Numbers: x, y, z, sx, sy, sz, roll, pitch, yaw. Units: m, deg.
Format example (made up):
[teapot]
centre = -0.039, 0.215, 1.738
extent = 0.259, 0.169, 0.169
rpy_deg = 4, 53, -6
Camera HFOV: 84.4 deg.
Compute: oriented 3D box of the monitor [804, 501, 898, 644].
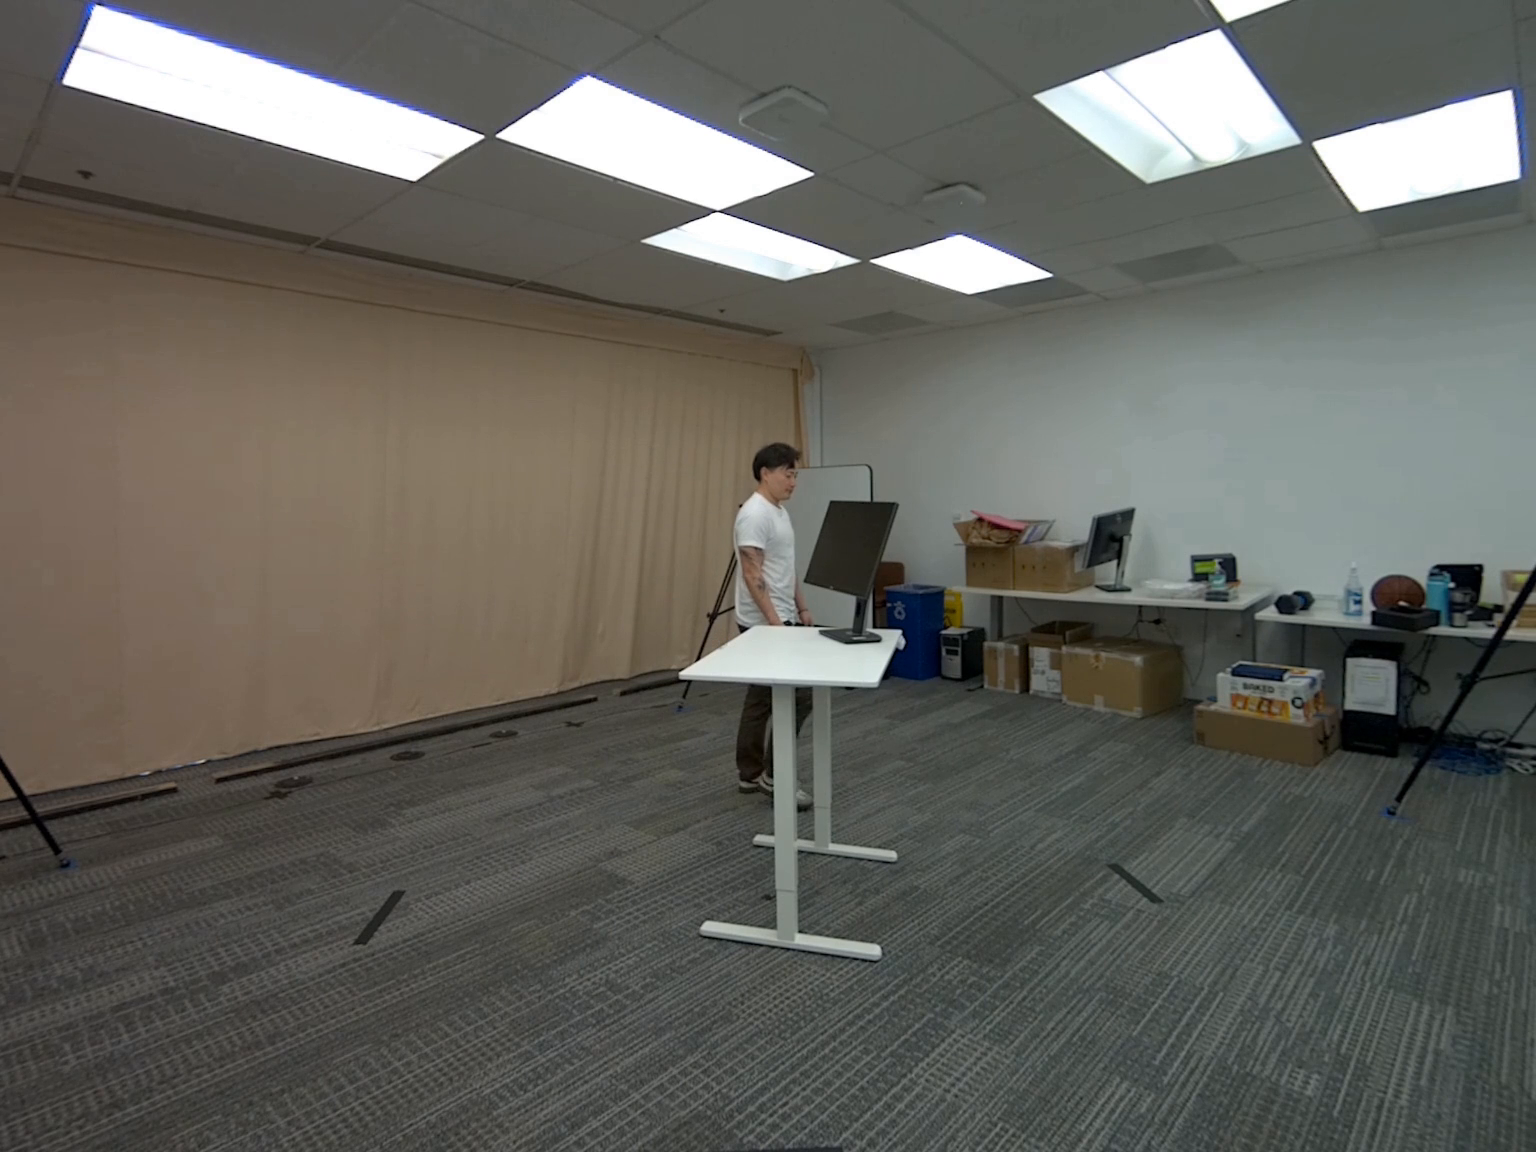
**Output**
[monitor]
centre = 0.333, -0.022, 3.178
extent = 0.183, 0.521, 0.552
rpy_deg = 1, 4, -23
